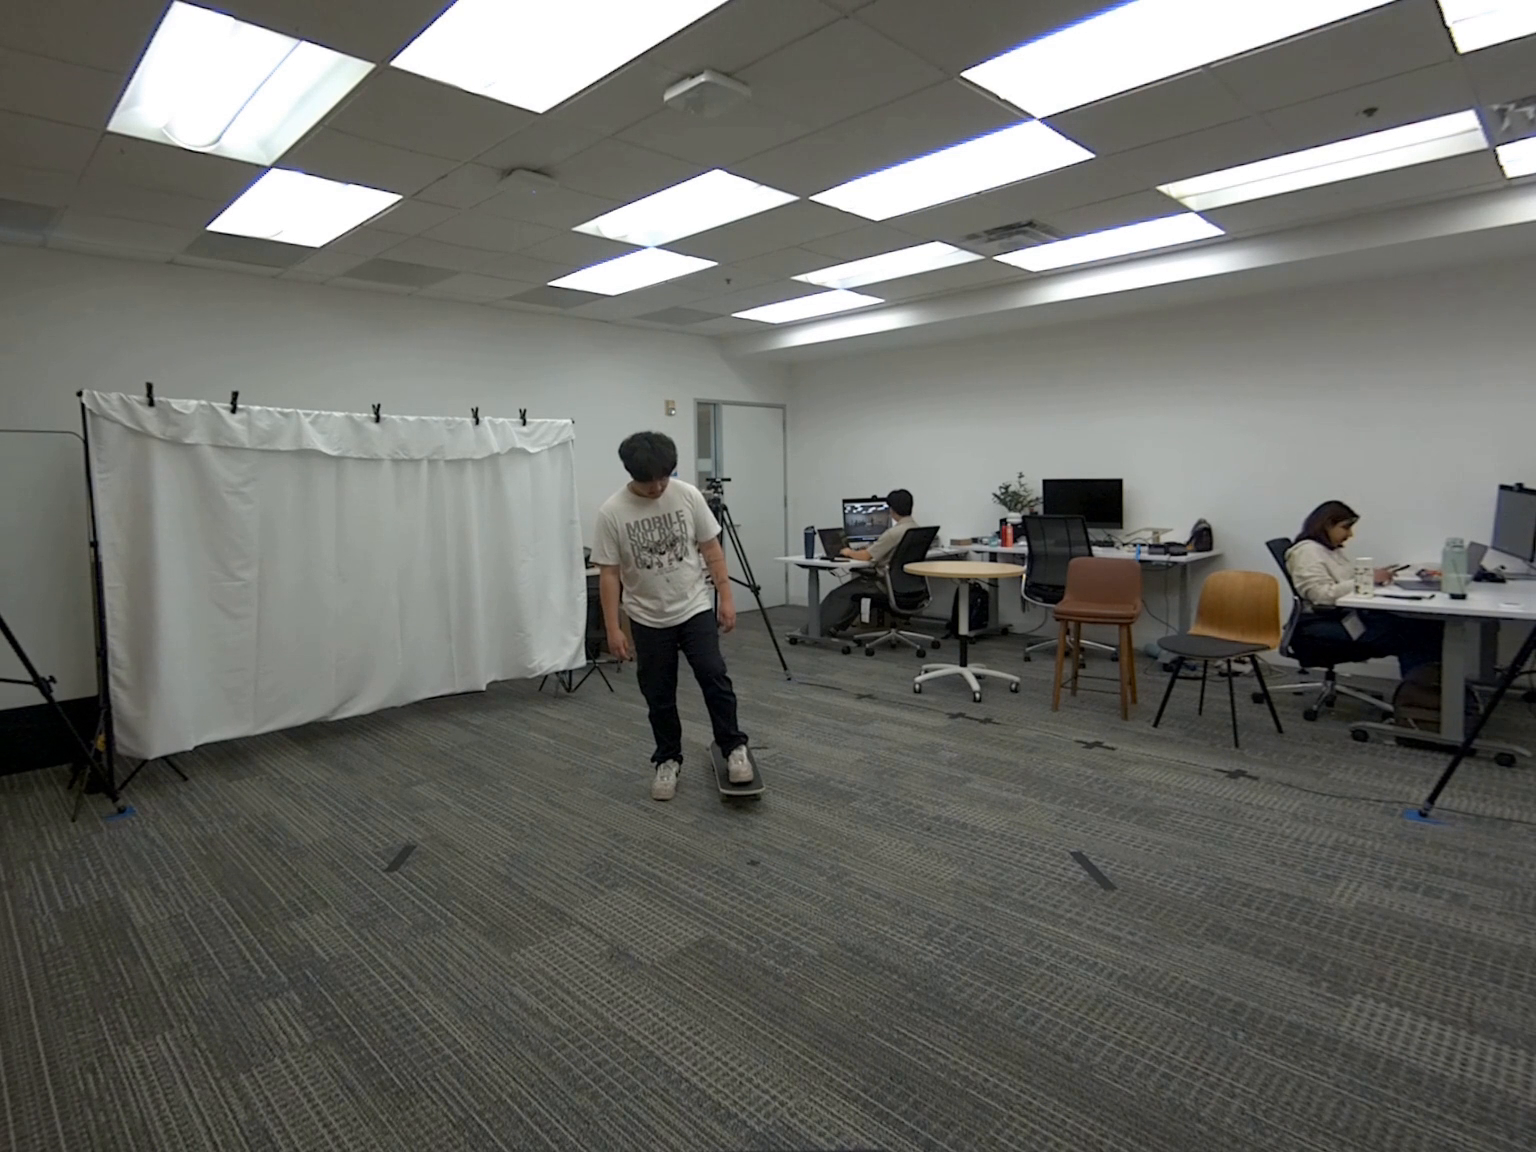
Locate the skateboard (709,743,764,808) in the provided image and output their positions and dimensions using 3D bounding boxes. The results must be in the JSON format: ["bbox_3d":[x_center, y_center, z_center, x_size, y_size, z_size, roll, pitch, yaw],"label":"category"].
[{"bbox_3d":[-0.148,0.894,3.904,0.192,0.110,0.794,-3,7,-8],"label":"skateboard"}]
